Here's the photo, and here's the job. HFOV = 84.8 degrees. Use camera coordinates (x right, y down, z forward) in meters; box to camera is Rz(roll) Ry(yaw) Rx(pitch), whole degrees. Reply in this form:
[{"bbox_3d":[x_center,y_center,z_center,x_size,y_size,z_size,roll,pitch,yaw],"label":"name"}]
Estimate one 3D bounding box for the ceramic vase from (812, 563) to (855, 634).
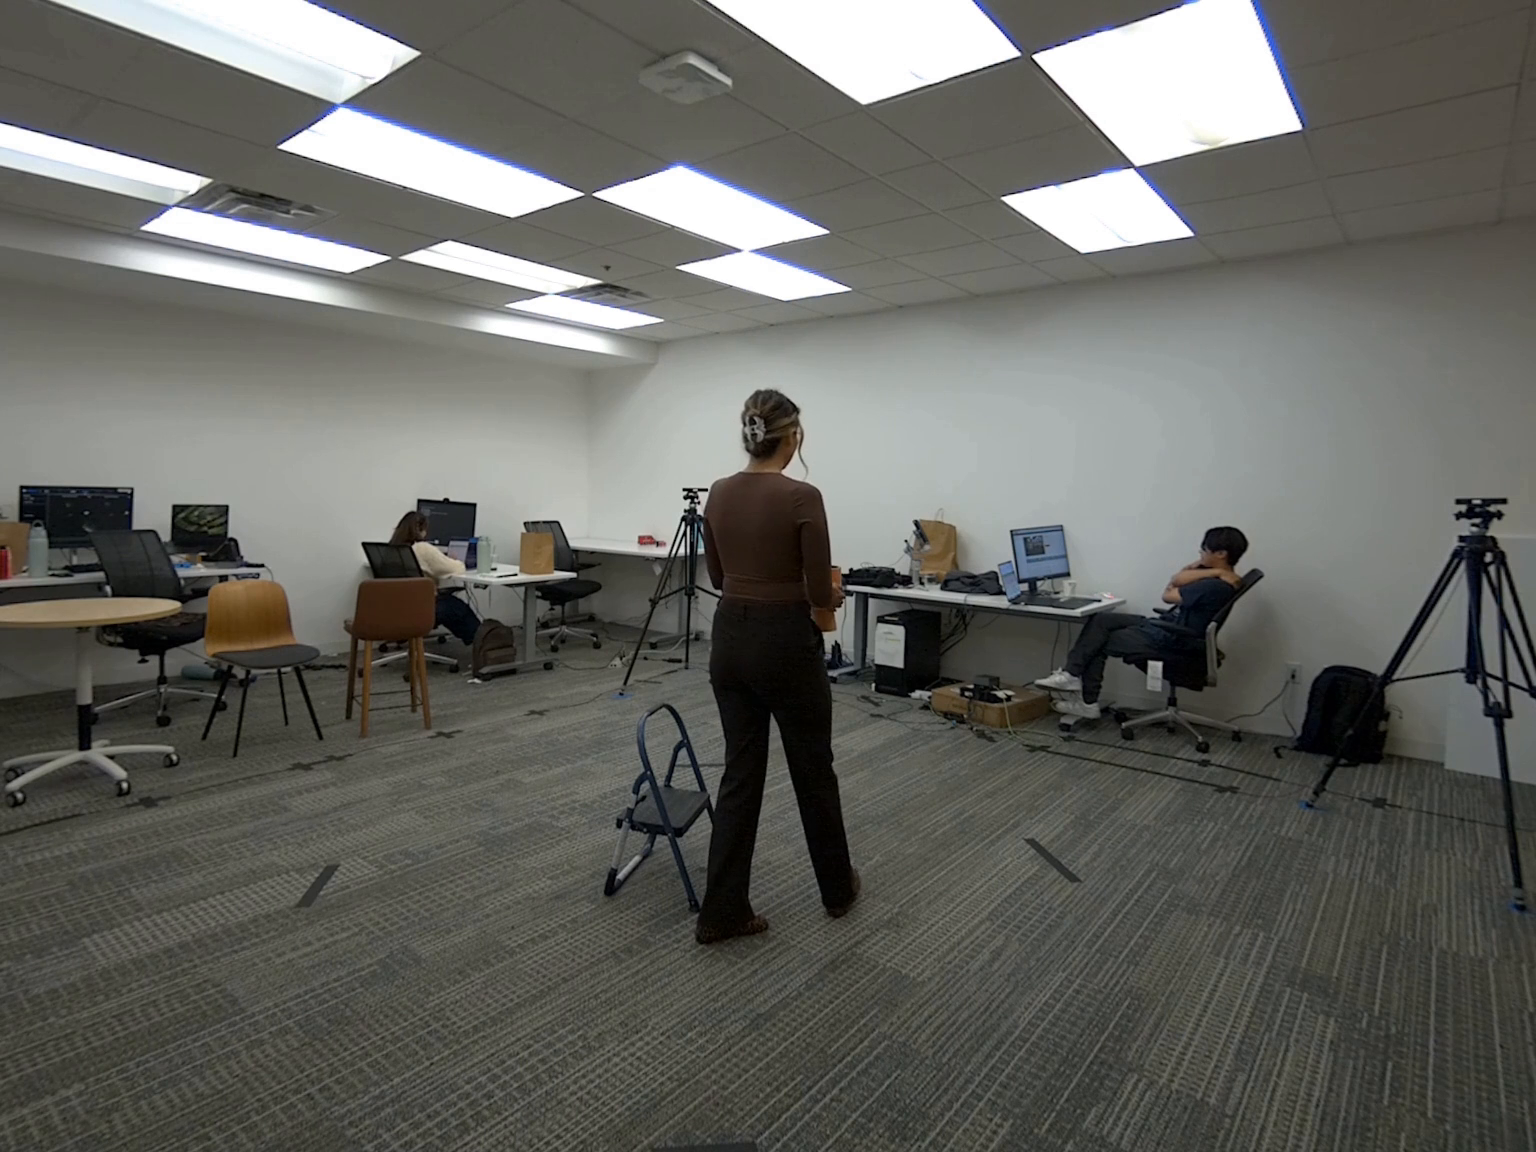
[{"bbox_3d":[0.195,0.076,2.951,0.156,0.219,0.138,-4,6,-22],"label":"ceramic vase"}]
